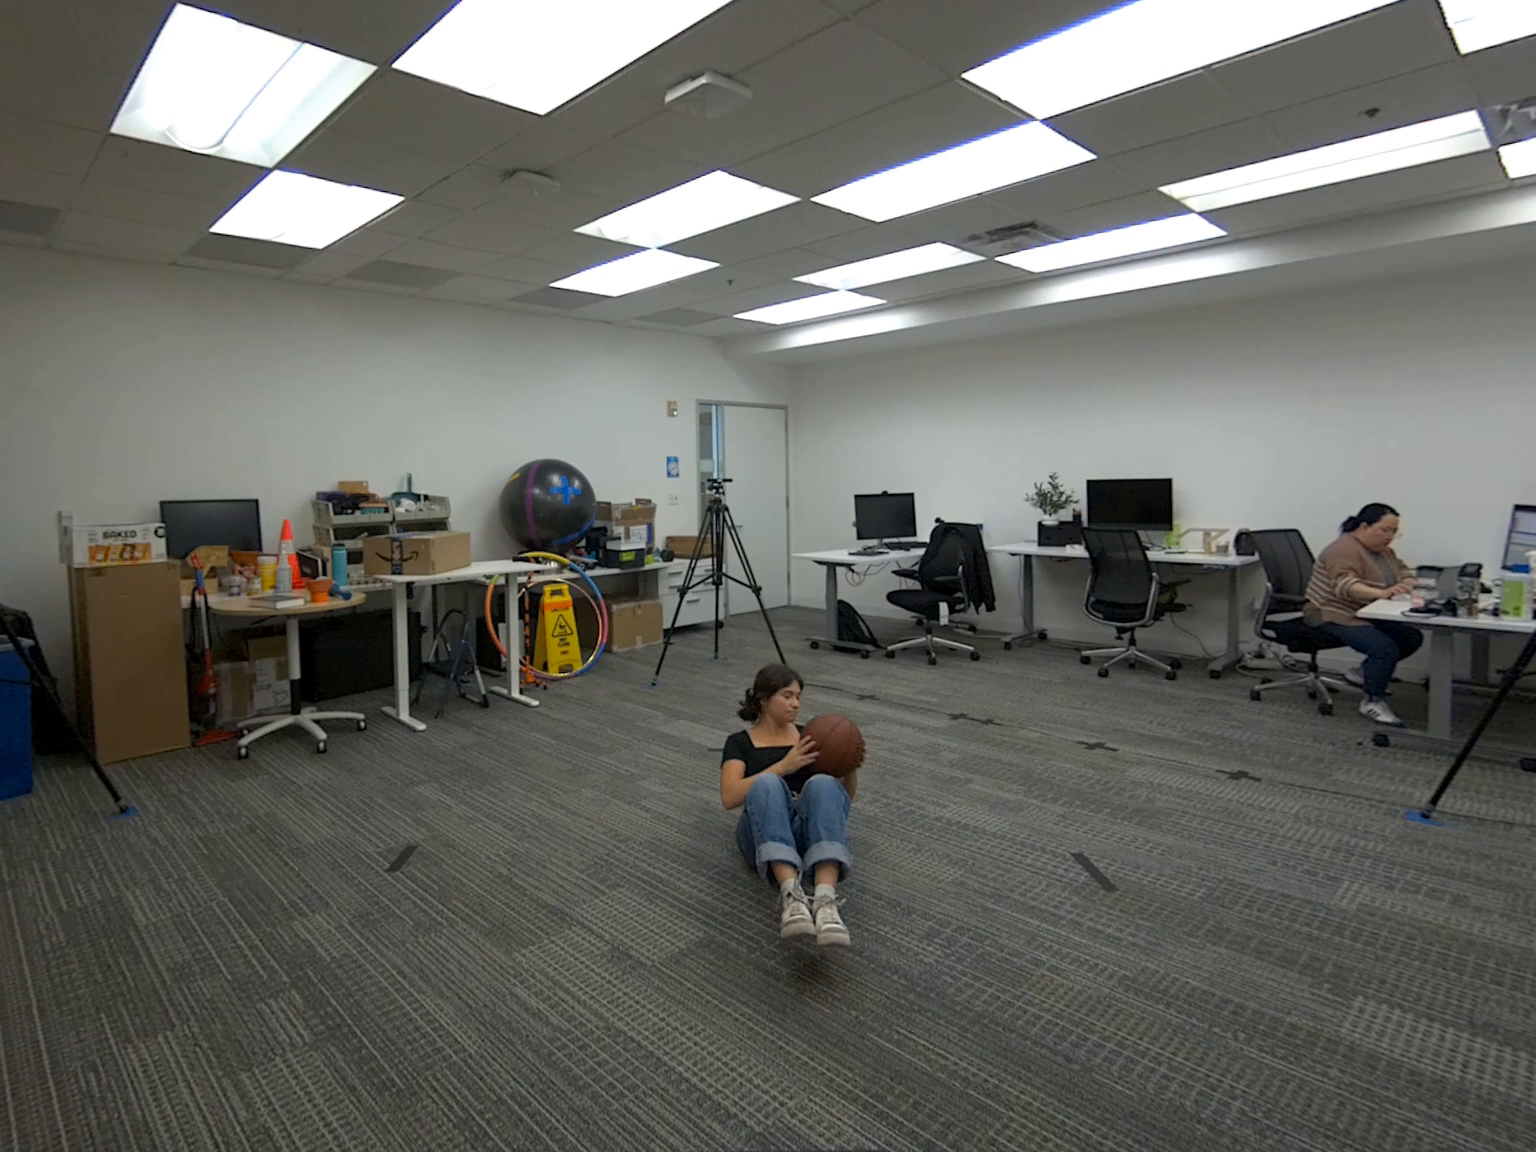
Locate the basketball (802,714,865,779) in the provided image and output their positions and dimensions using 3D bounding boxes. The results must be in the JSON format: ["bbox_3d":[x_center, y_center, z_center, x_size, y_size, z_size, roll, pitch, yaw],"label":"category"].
[{"bbox_3d":[0.230,0.643,3.177,0.236,0.235,0.237,-1,5,-2],"label":"basketball"}]
